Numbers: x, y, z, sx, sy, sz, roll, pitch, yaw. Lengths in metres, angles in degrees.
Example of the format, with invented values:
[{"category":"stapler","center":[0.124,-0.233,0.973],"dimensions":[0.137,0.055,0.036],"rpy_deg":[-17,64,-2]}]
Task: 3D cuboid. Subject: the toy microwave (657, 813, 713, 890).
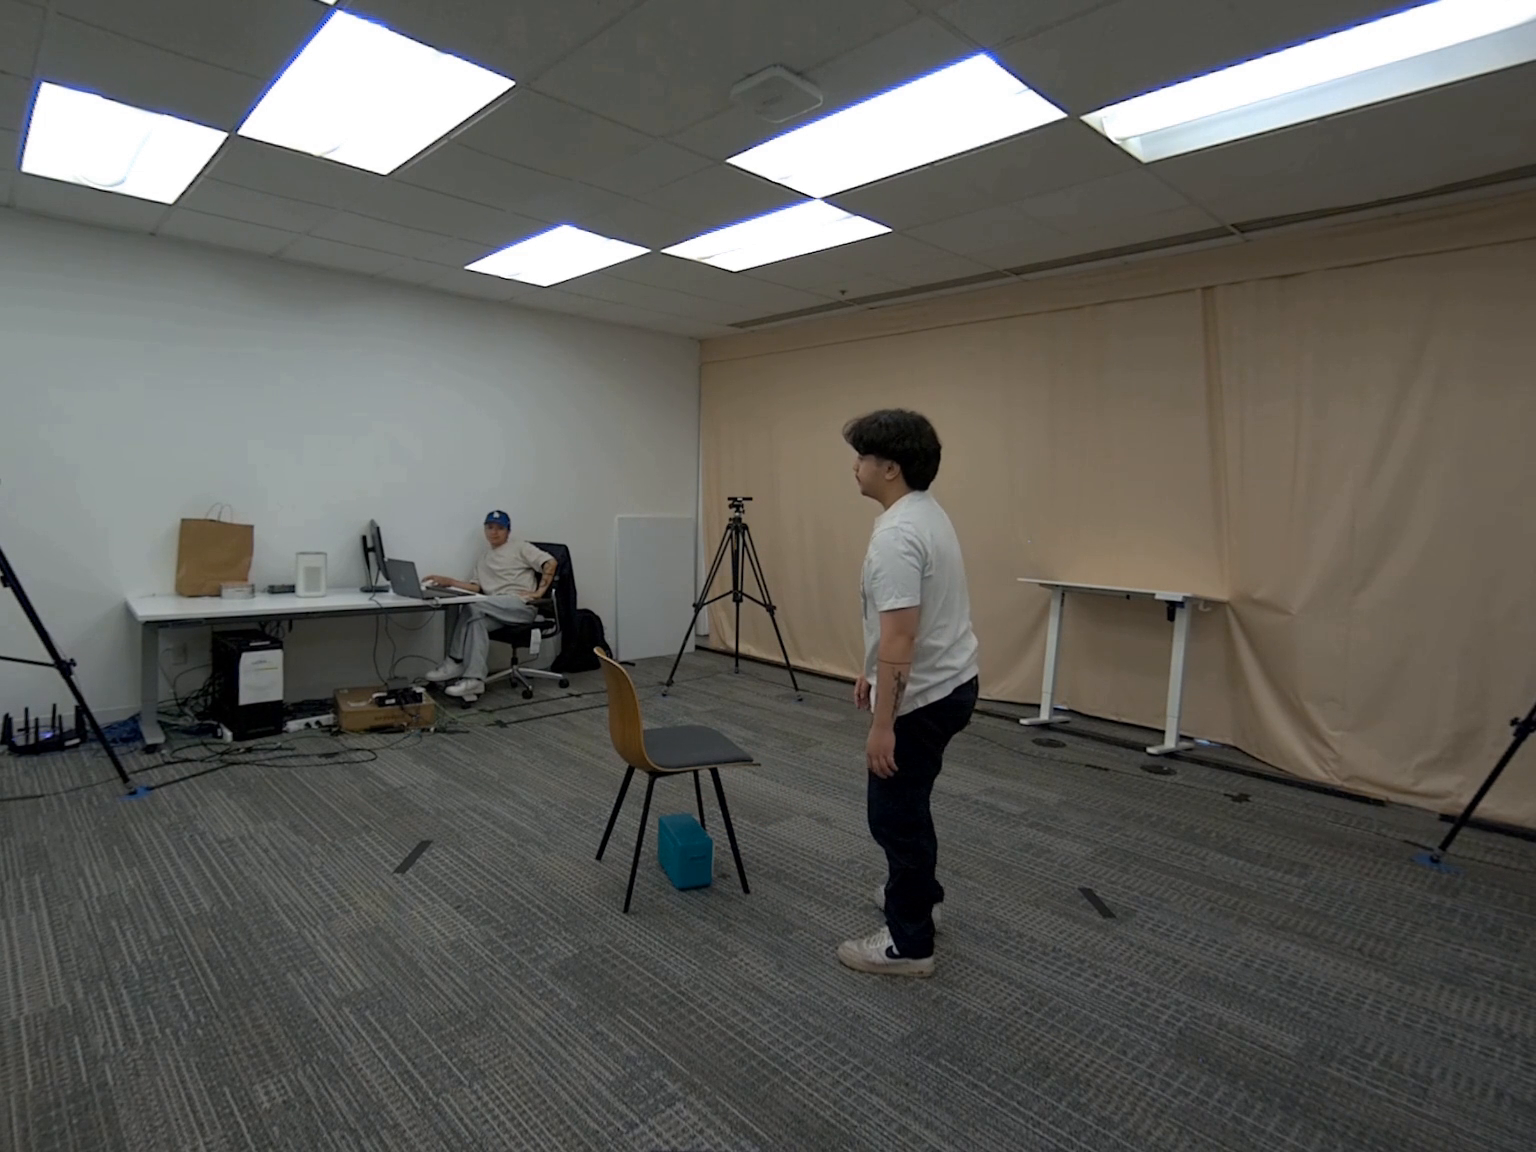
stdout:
[{"category":"toy microwave","center":[-0.305,1.007,3.111],"dimensions":[0.150,0.183,0.292],"rpy_deg":[0,5,-23]}]
